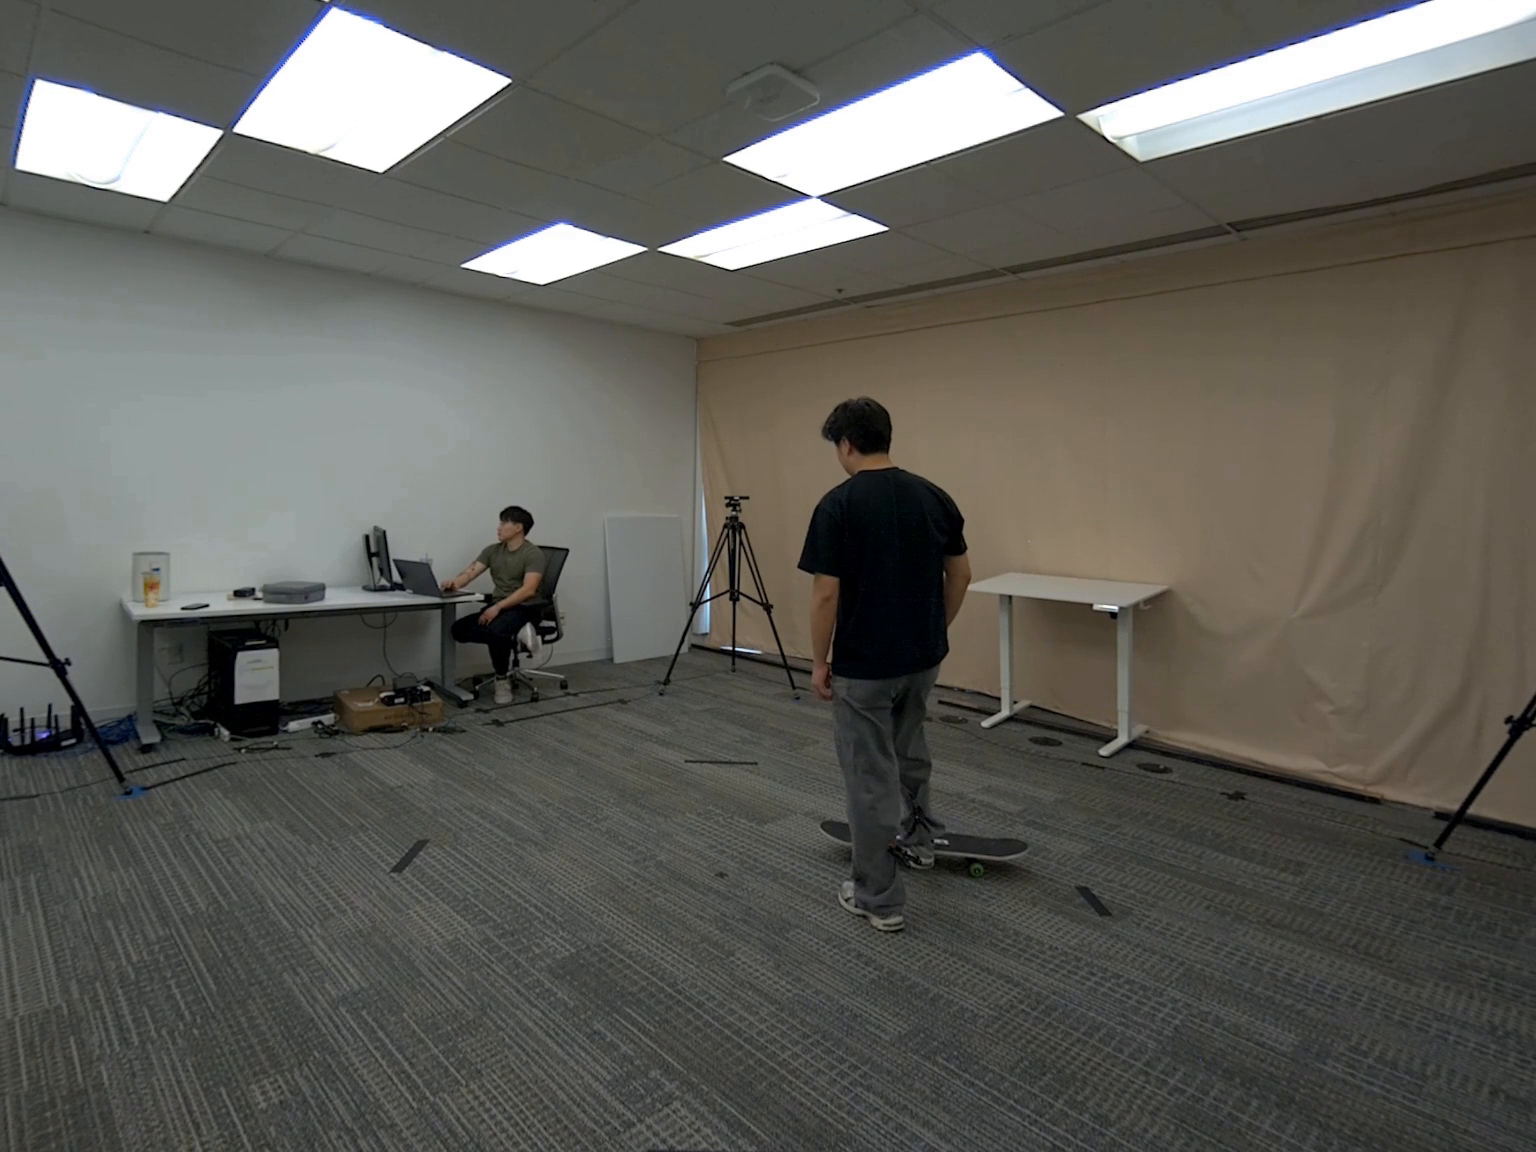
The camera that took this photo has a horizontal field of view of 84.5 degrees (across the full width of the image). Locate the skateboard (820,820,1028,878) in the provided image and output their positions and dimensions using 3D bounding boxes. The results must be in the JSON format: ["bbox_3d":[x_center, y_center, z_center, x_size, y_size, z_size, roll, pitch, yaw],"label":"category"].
[{"bbox_3d":[0.583,1.051,3.257,0.792,0.110,0.192,3,4,10],"label":"skateboard"}]
